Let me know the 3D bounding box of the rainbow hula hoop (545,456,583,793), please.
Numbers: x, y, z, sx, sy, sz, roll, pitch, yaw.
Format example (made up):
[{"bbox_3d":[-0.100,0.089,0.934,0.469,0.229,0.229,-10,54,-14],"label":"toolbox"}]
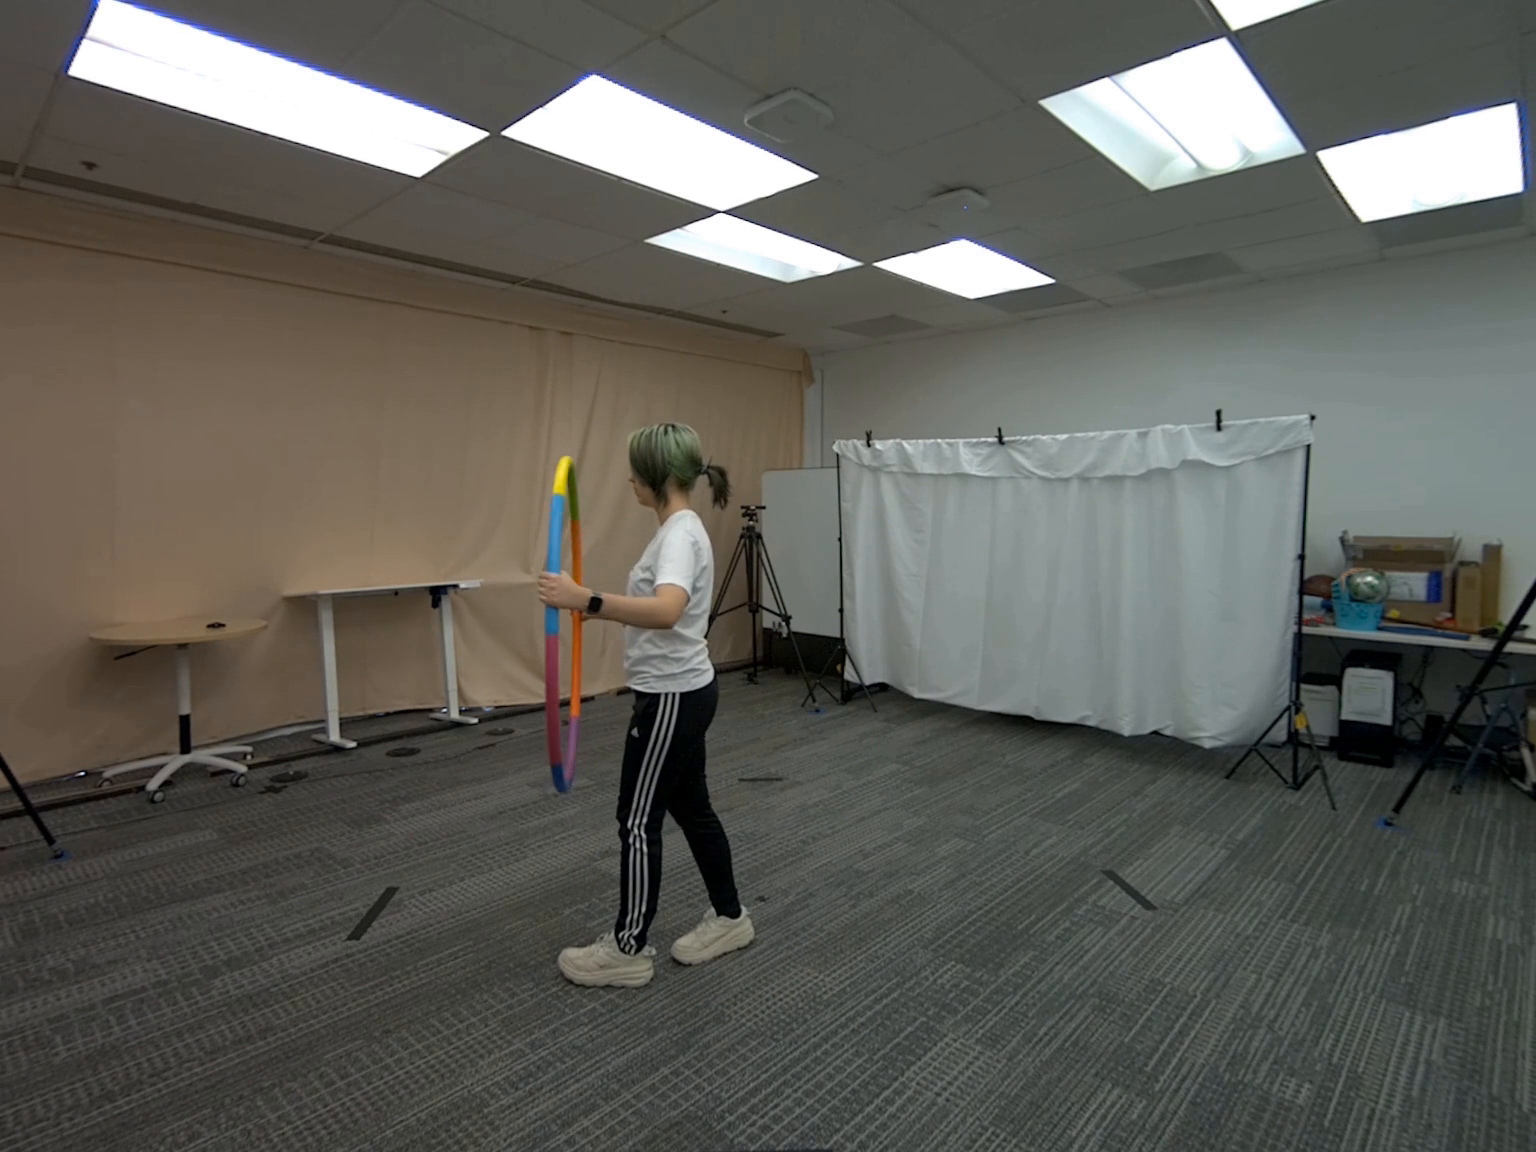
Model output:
[{"bbox_3d":[-0.599,0.143,2.509,0.035,0.976,0.989,-1,4,-9],"label":"rainbow hula hoop"}]
